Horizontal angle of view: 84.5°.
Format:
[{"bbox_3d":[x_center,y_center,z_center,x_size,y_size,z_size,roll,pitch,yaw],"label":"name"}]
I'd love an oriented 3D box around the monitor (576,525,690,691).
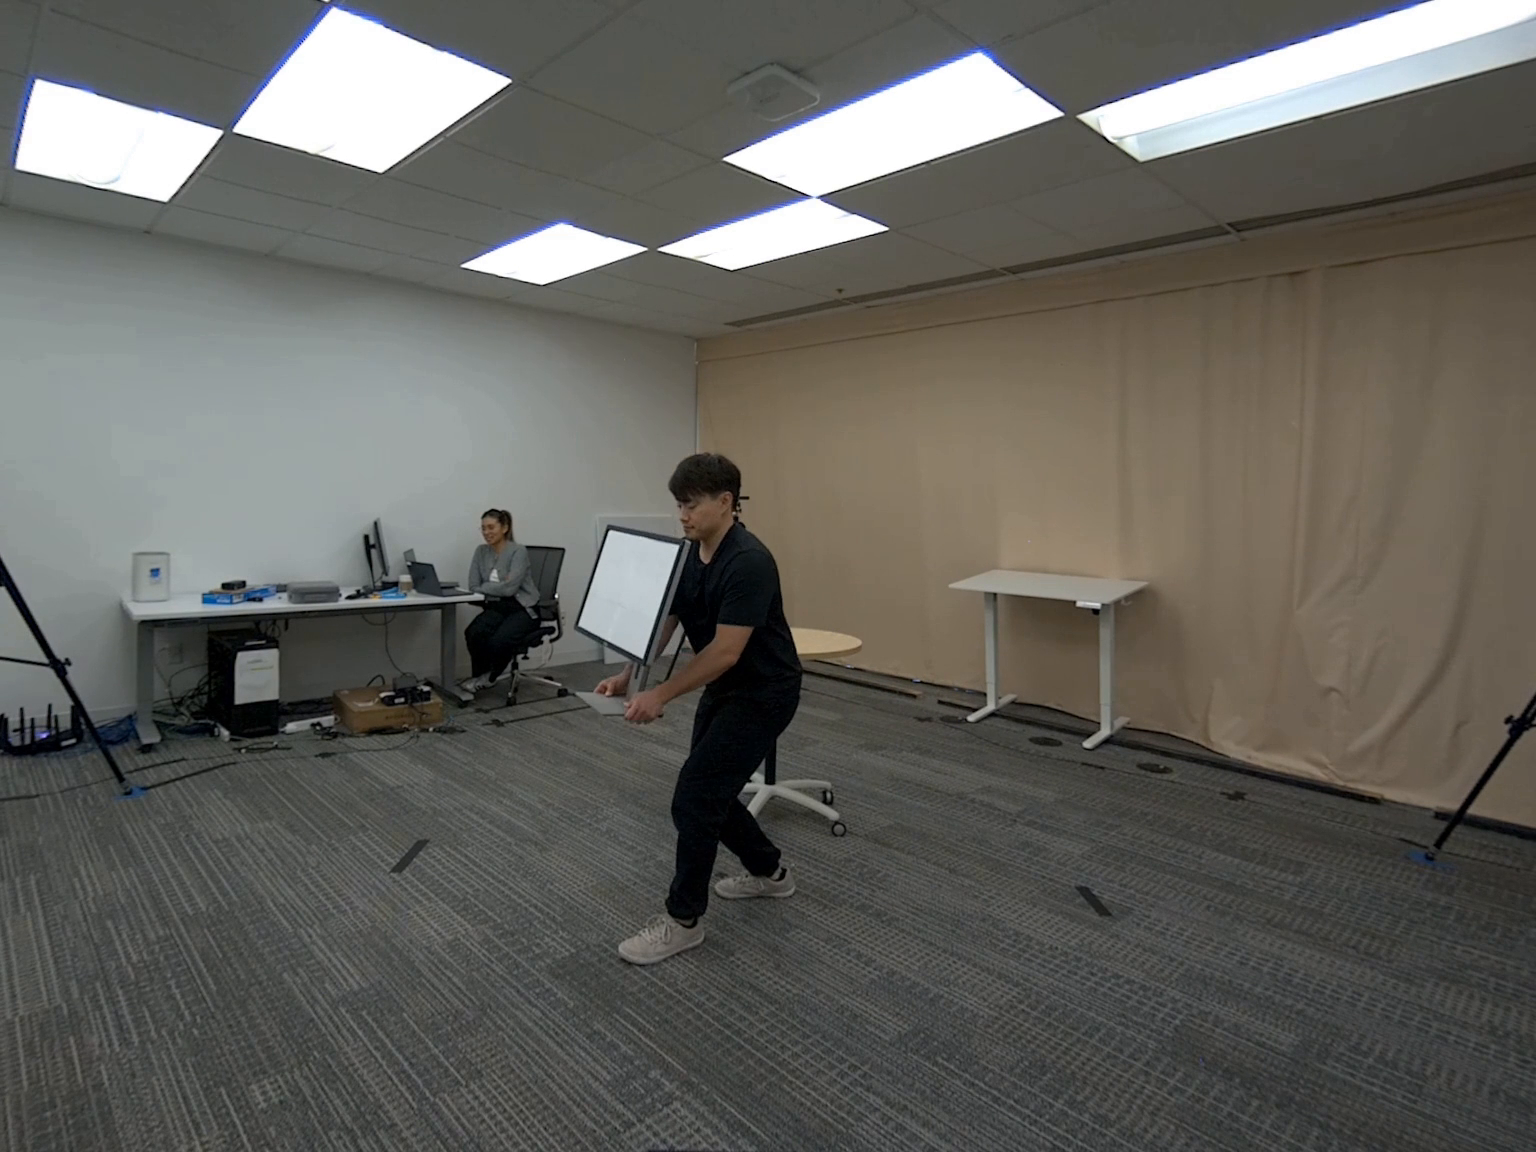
[{"bbox_3d":[-0.410,0.133,2.558,0.182,0.522,0.553,6,3,-35],"label":"monitor"}]
